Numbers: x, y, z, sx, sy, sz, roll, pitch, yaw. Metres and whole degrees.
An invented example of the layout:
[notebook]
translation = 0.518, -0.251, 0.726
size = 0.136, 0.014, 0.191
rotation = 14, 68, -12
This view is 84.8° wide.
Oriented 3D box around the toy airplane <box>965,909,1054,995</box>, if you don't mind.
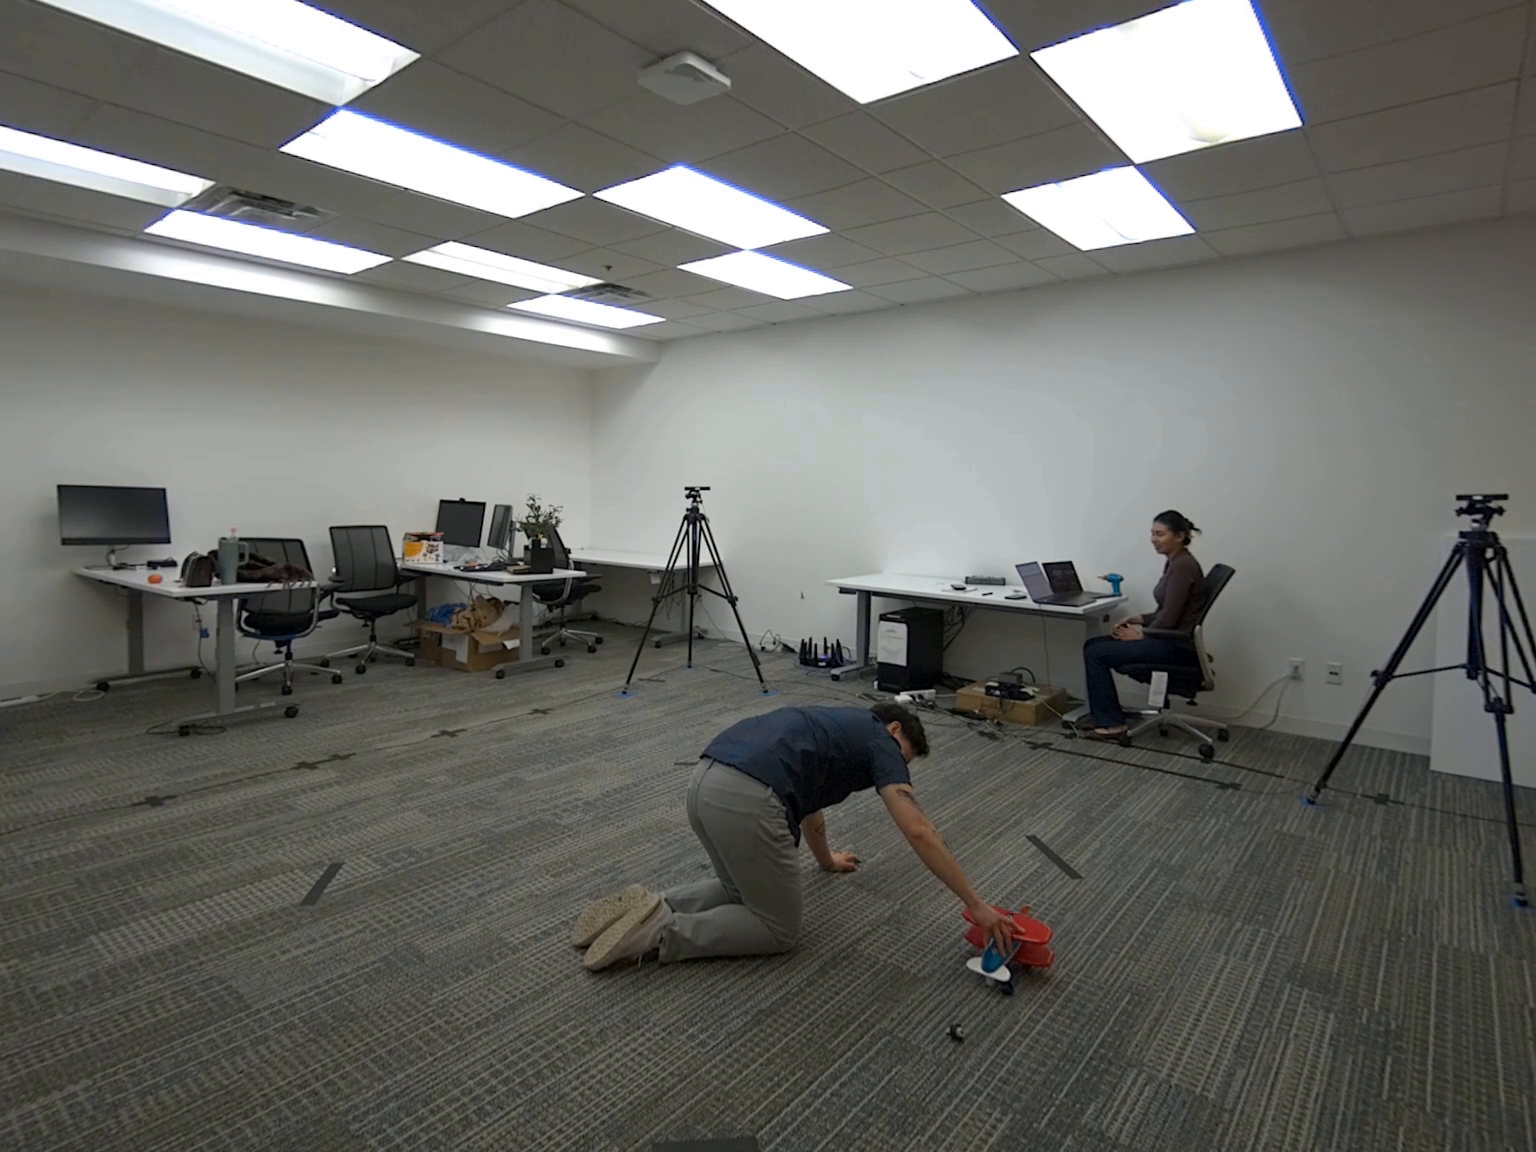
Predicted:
[toy airplane]
translation = 0.697, 1.084, 2.450
size = 0.254, 0.156, 0.257
rotation = -1, 4, 11
